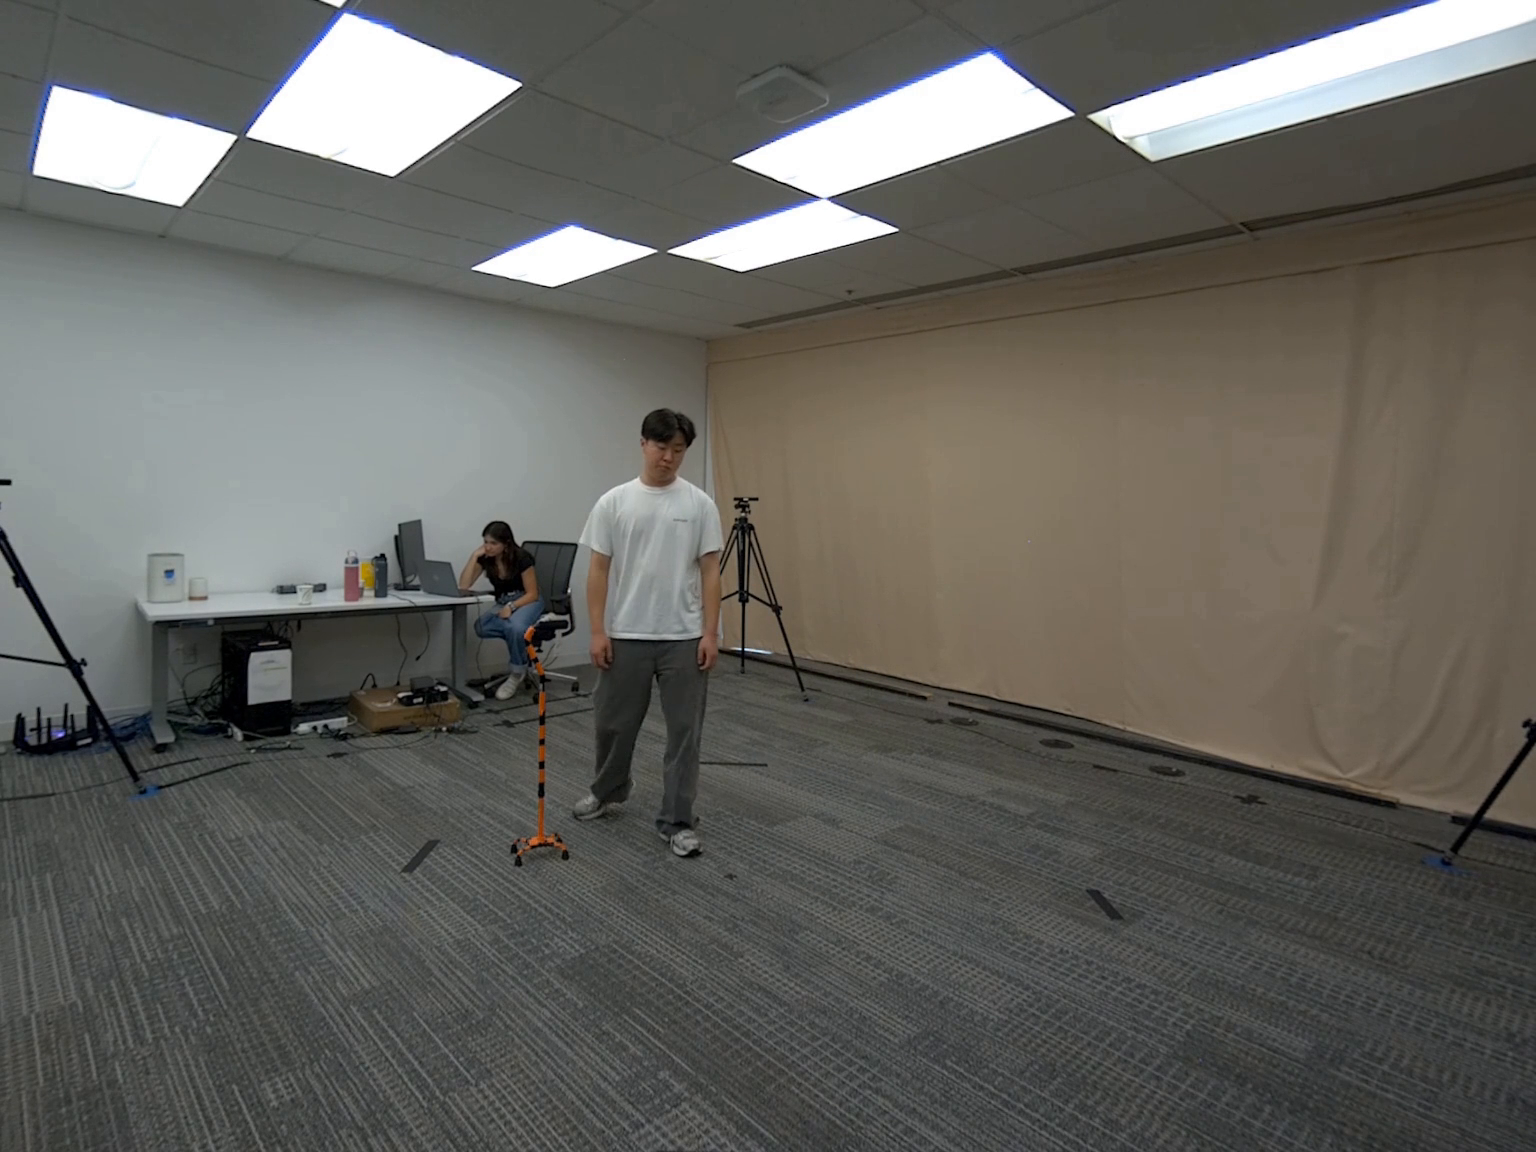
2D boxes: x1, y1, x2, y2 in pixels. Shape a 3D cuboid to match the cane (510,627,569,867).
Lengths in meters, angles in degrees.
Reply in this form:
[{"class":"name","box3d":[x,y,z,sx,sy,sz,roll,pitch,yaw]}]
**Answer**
[{"class":"cane","box3d":[-0.877,0.630,3.220,0.203,0.906,0.154,0,3,-24]}]
